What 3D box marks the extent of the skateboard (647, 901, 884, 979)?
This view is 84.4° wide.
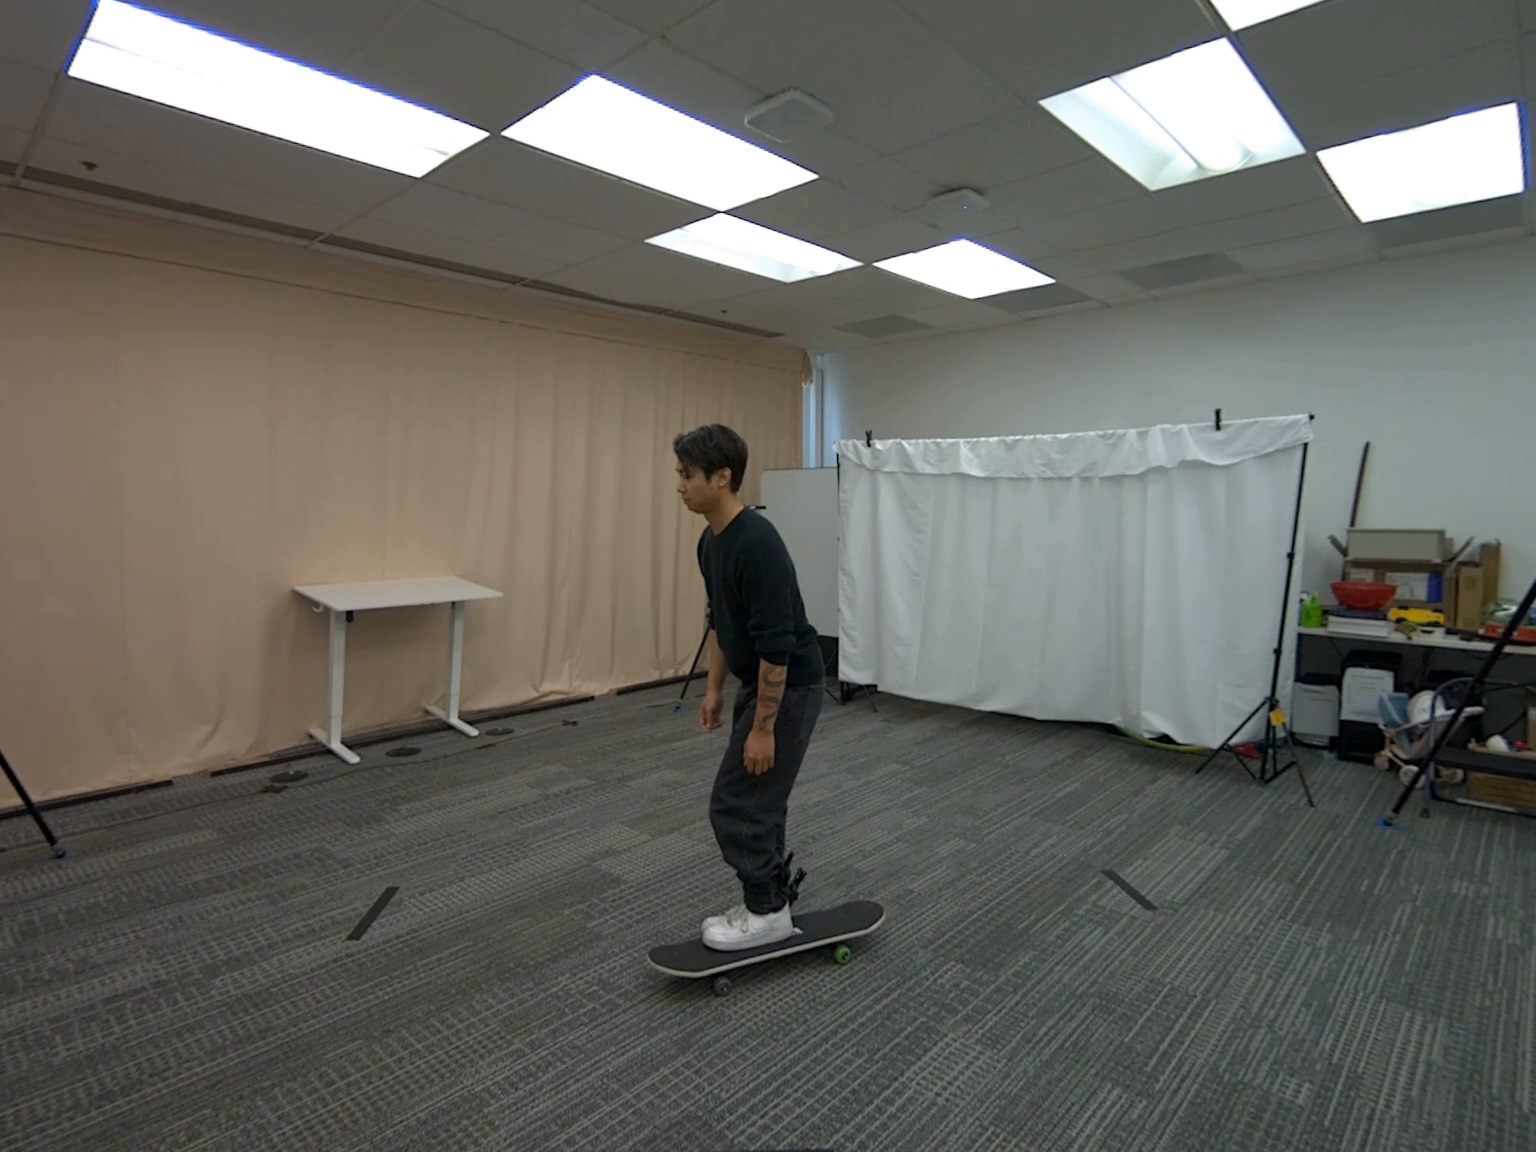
[{"bbox_3d":[0.011,1.124,2.544,0.768,0.110,0.198,-1,3,-23],"label":"skateboard"}]
